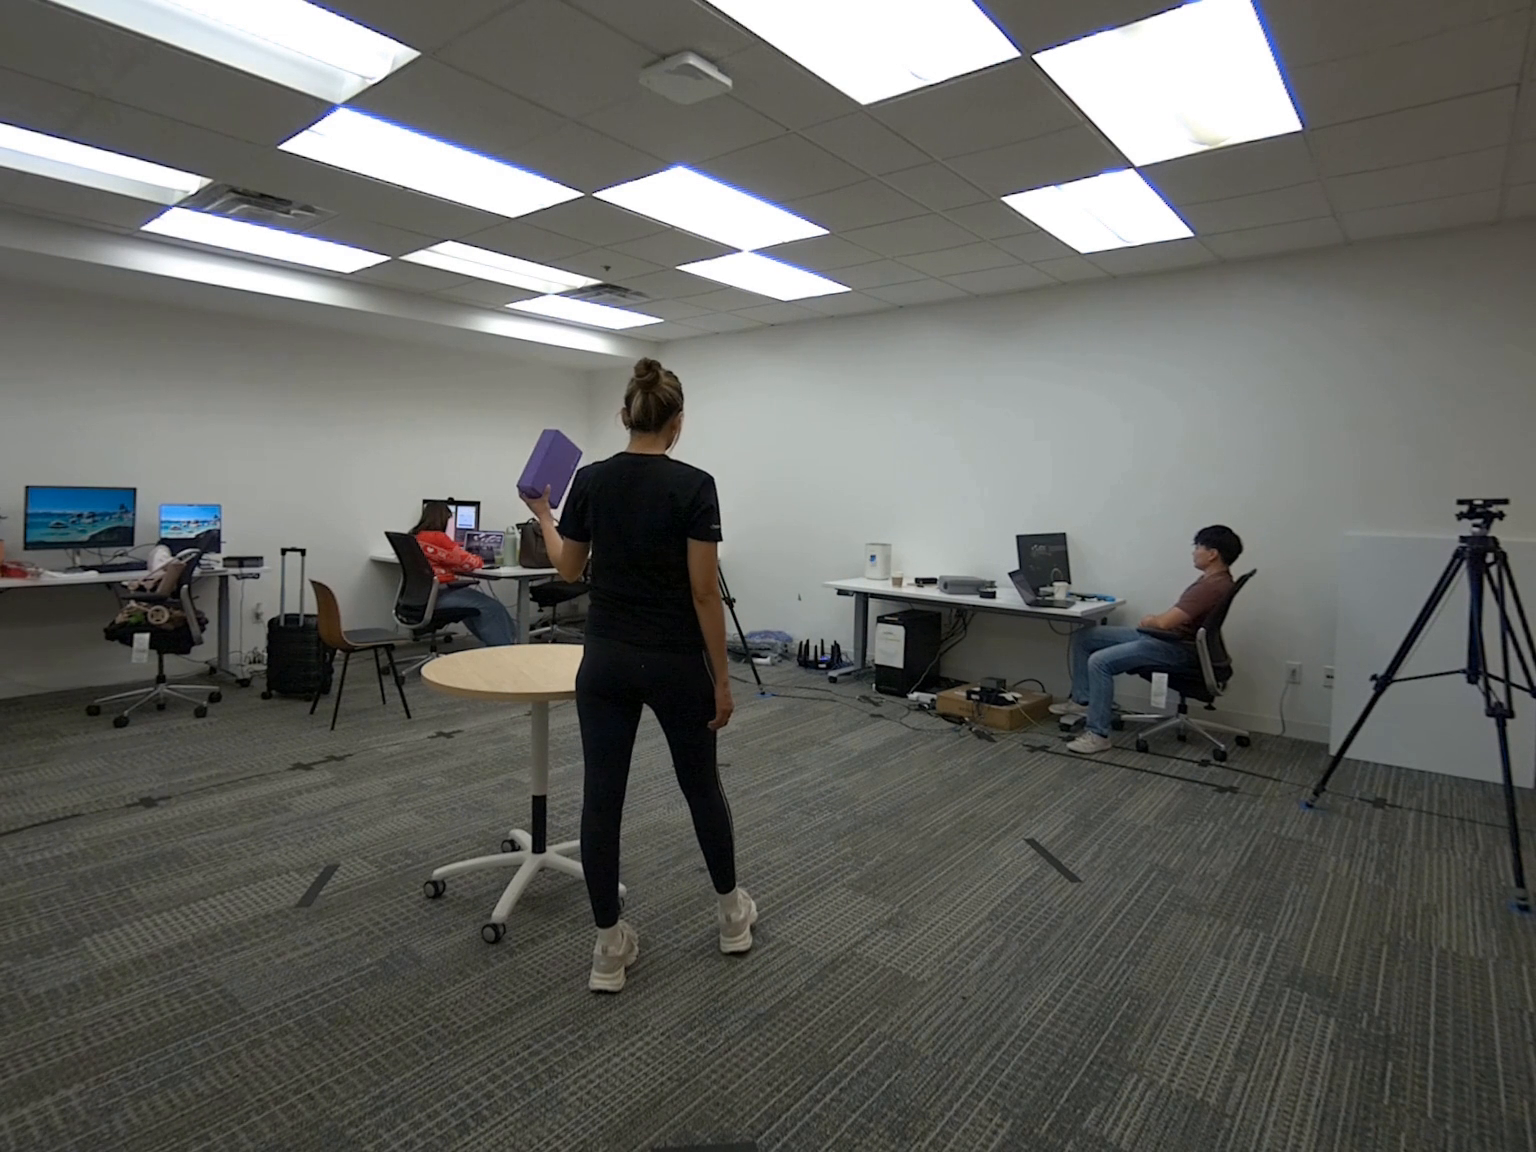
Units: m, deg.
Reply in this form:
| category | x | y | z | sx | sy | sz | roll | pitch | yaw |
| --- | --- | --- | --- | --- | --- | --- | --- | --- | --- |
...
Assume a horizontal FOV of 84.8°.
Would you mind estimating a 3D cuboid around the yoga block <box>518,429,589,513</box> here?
| category | x | y | z | sx | sy | sz | roll | pitch | yaw |
| --- | --- | --- | --- | --- | --- | --- | --- | --- | --- |
| yoga block | -0.714 | -0.353 | 2.802 | 0.079 | 0.232 | 0.143 | 5 | -24 | 32 |
